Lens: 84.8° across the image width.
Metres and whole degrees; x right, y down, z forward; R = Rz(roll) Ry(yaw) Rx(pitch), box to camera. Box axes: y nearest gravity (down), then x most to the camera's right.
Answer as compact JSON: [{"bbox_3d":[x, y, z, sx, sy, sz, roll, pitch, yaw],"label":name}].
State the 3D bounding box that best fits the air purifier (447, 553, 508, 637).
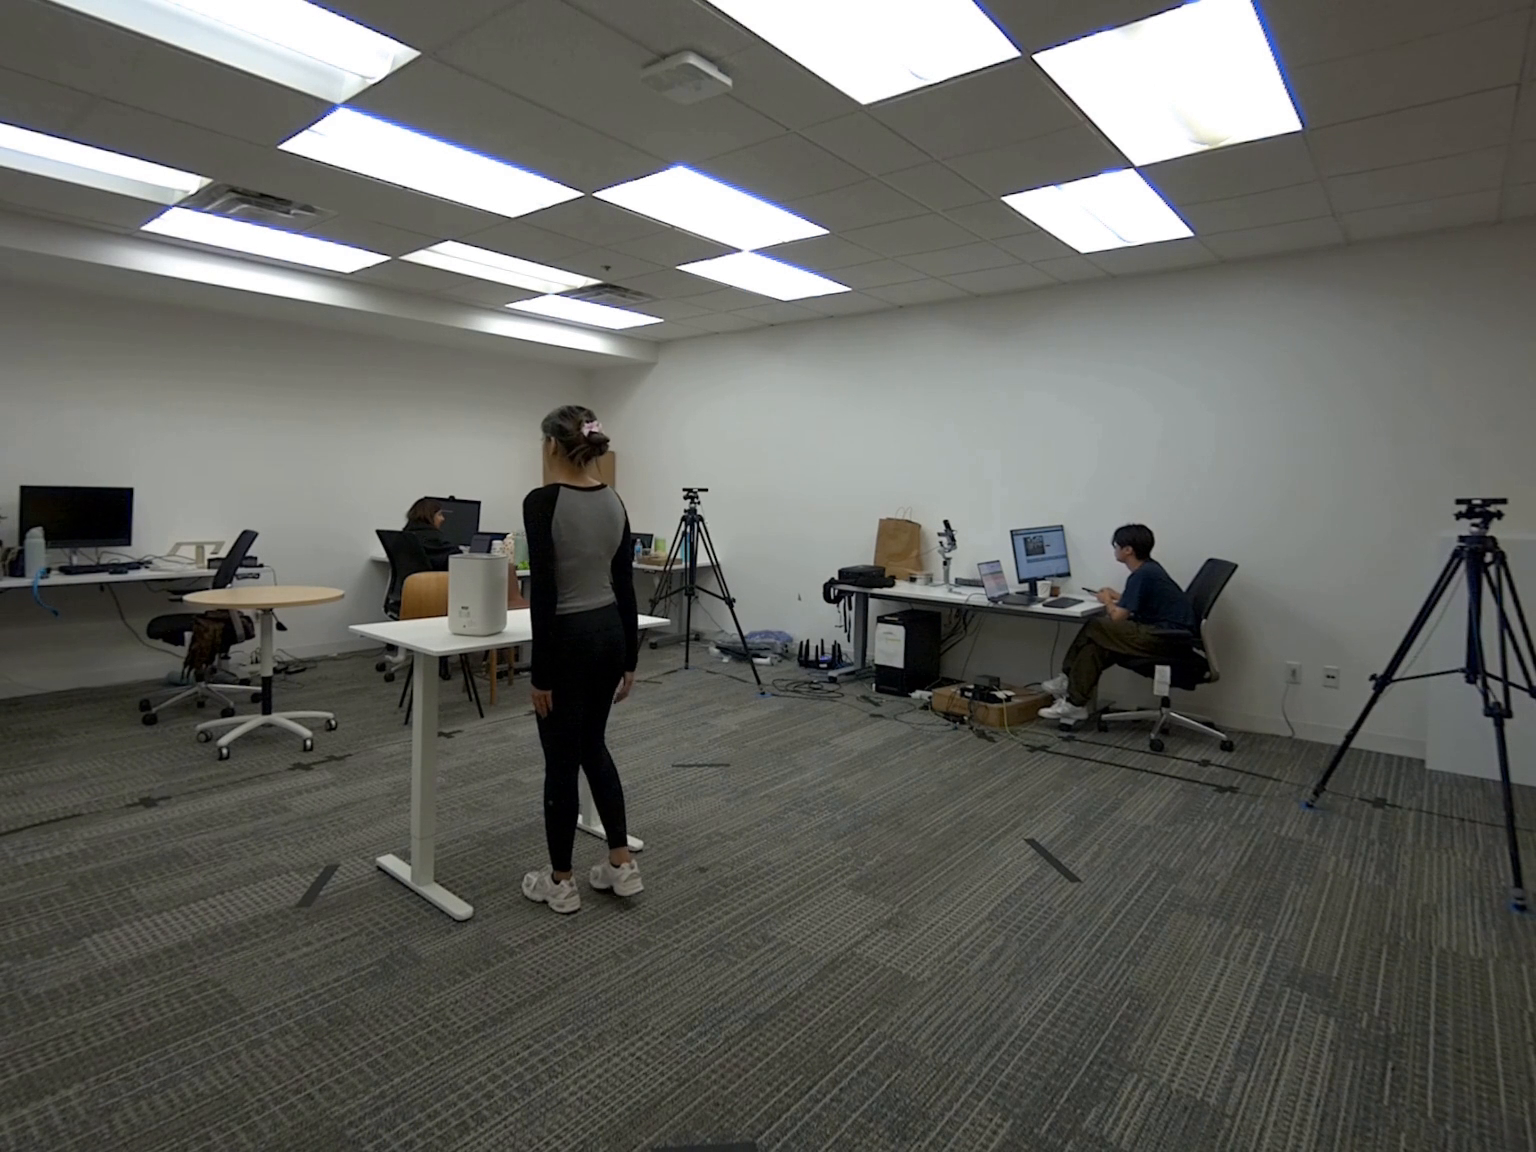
[{"bbox_3d":[-0.997,0.061,2.908,0.173,0.264,0.170,2,4,12],"label":"air purifier"}]
